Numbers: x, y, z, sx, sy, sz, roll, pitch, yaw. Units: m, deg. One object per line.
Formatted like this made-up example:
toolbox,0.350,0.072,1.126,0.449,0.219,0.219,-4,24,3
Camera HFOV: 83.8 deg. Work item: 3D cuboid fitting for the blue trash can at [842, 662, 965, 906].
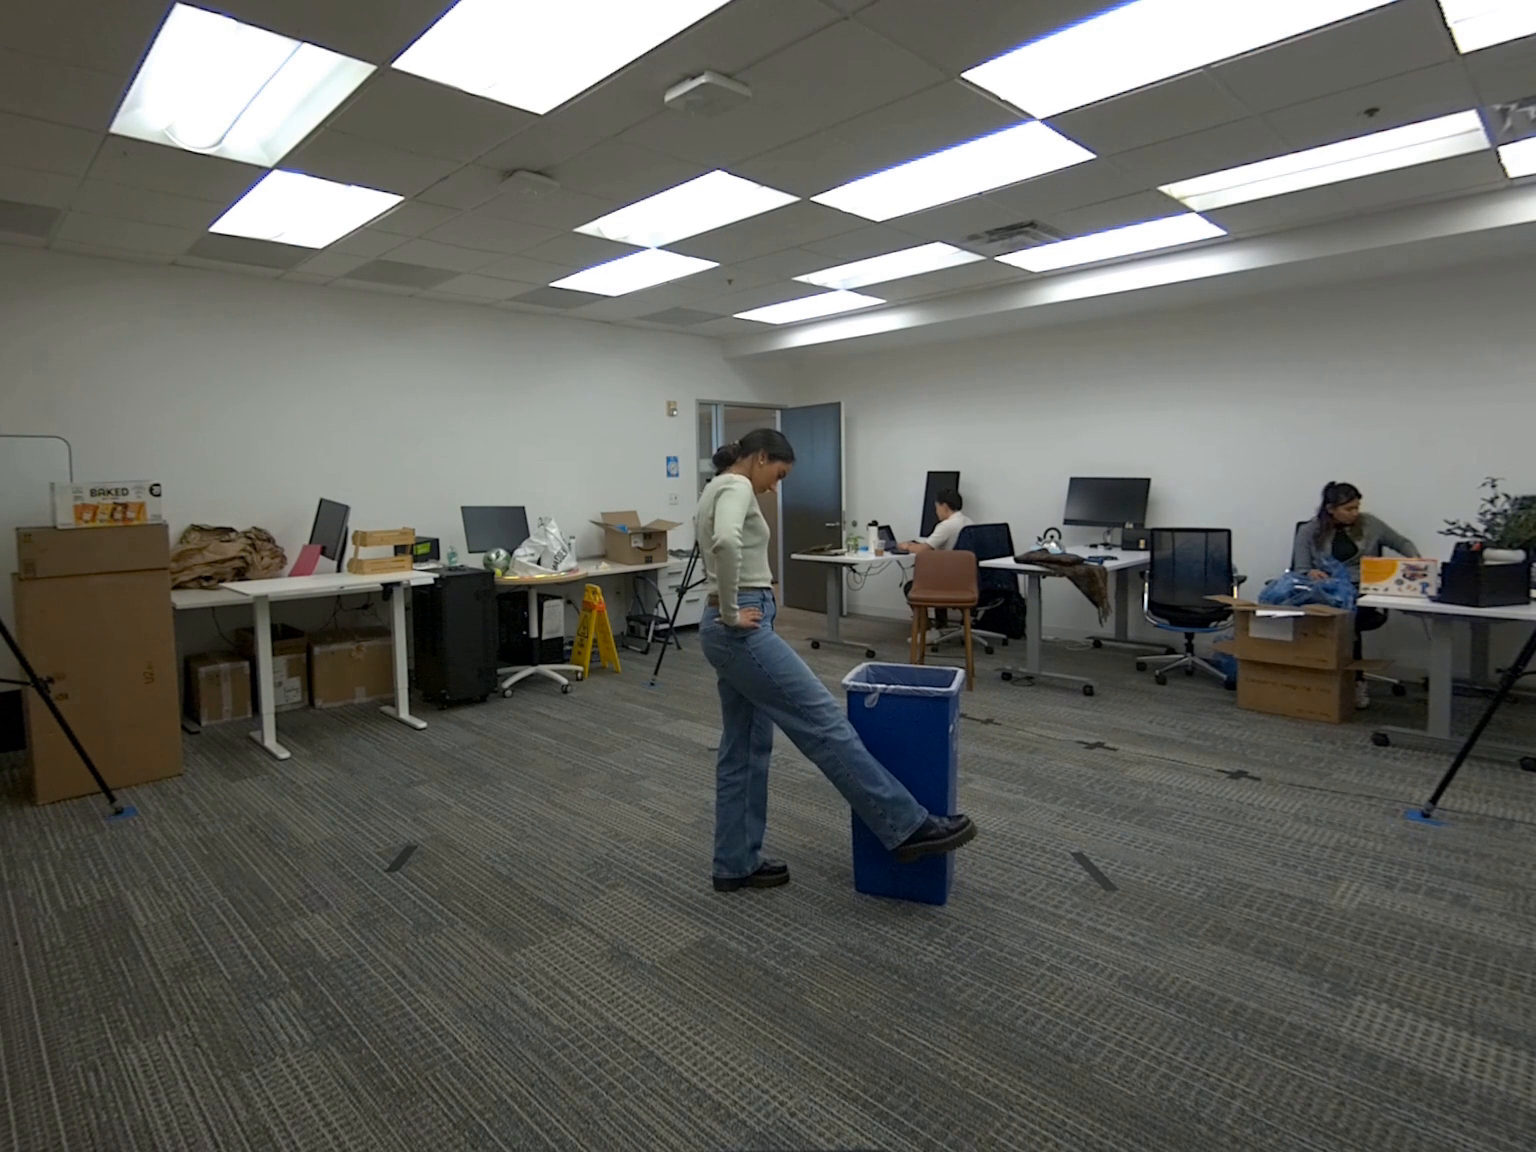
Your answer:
blue trash can,0.479,0.693,2.949,0.381,0.712,0.372,0,3,19
